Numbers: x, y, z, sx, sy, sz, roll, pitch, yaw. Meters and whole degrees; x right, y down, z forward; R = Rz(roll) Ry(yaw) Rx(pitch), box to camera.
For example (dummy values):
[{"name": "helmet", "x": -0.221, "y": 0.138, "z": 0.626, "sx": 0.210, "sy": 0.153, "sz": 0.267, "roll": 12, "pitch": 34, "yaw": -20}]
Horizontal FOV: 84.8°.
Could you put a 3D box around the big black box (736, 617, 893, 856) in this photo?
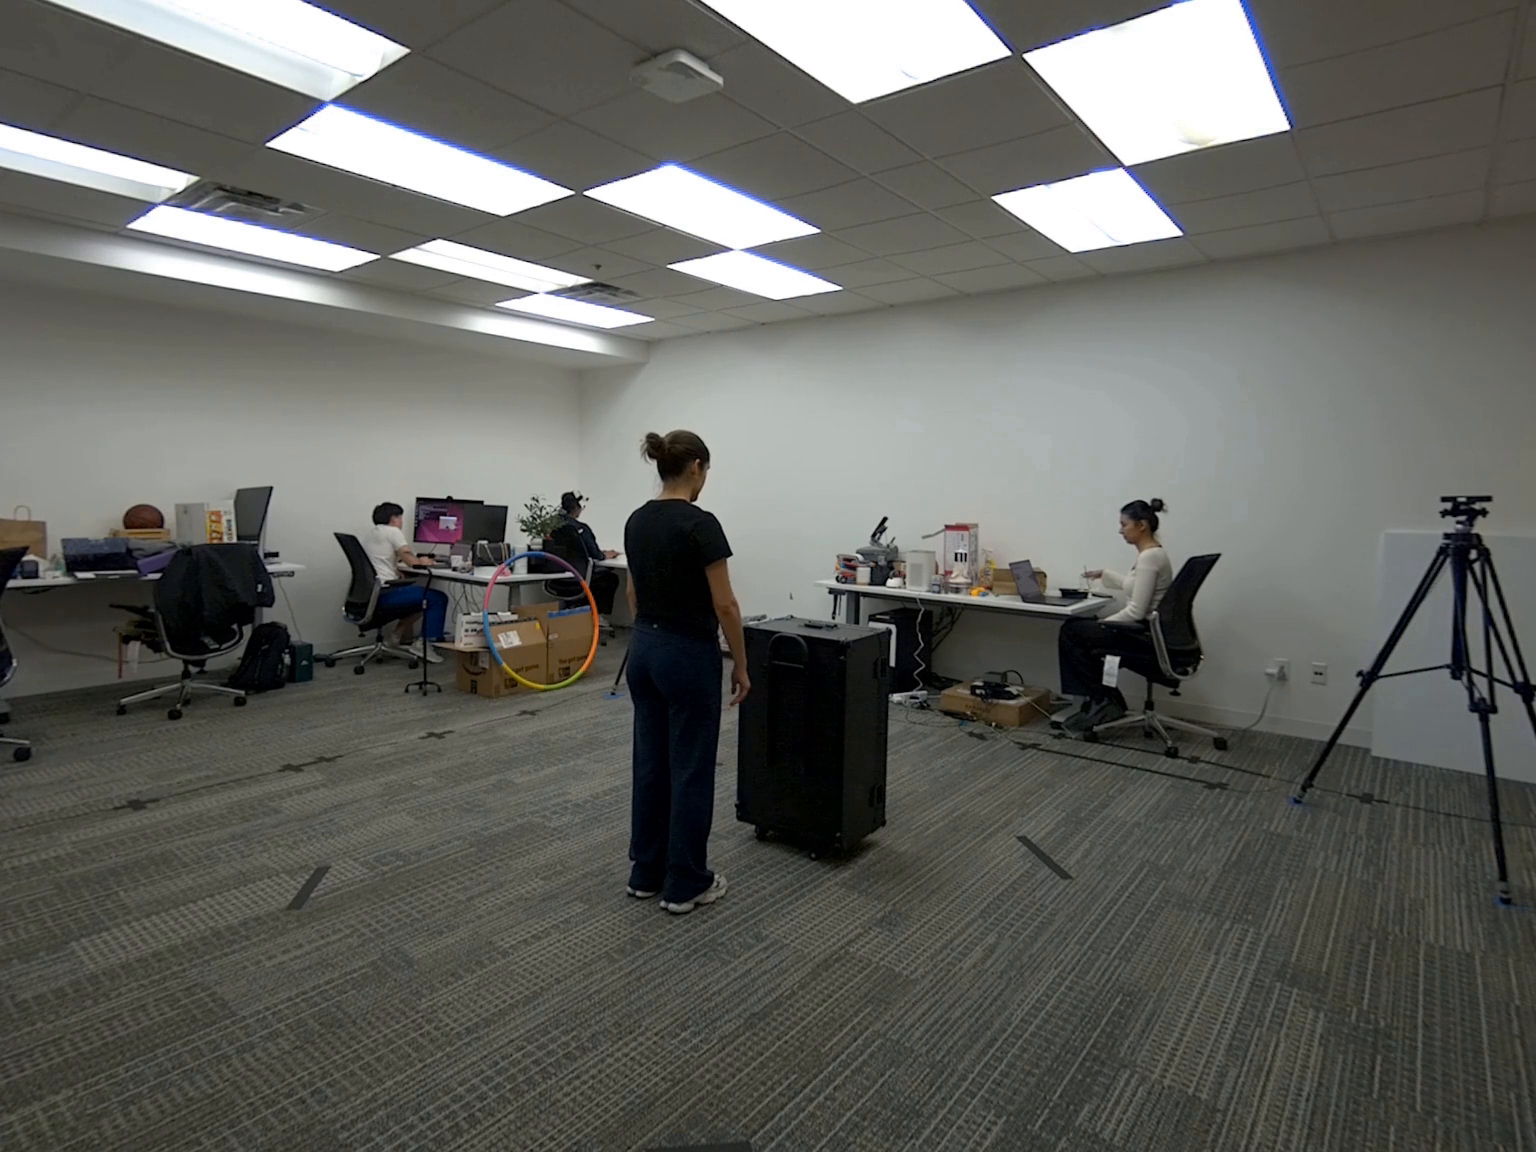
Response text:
[{"name": "big black box", "x": 0.195, "y": 0.621, "z": 3.362, "sx": 0.538, "sy": 0.858, "sz": 0.385, "roll": 4, "pitch": 5, "yaw": 37}]
